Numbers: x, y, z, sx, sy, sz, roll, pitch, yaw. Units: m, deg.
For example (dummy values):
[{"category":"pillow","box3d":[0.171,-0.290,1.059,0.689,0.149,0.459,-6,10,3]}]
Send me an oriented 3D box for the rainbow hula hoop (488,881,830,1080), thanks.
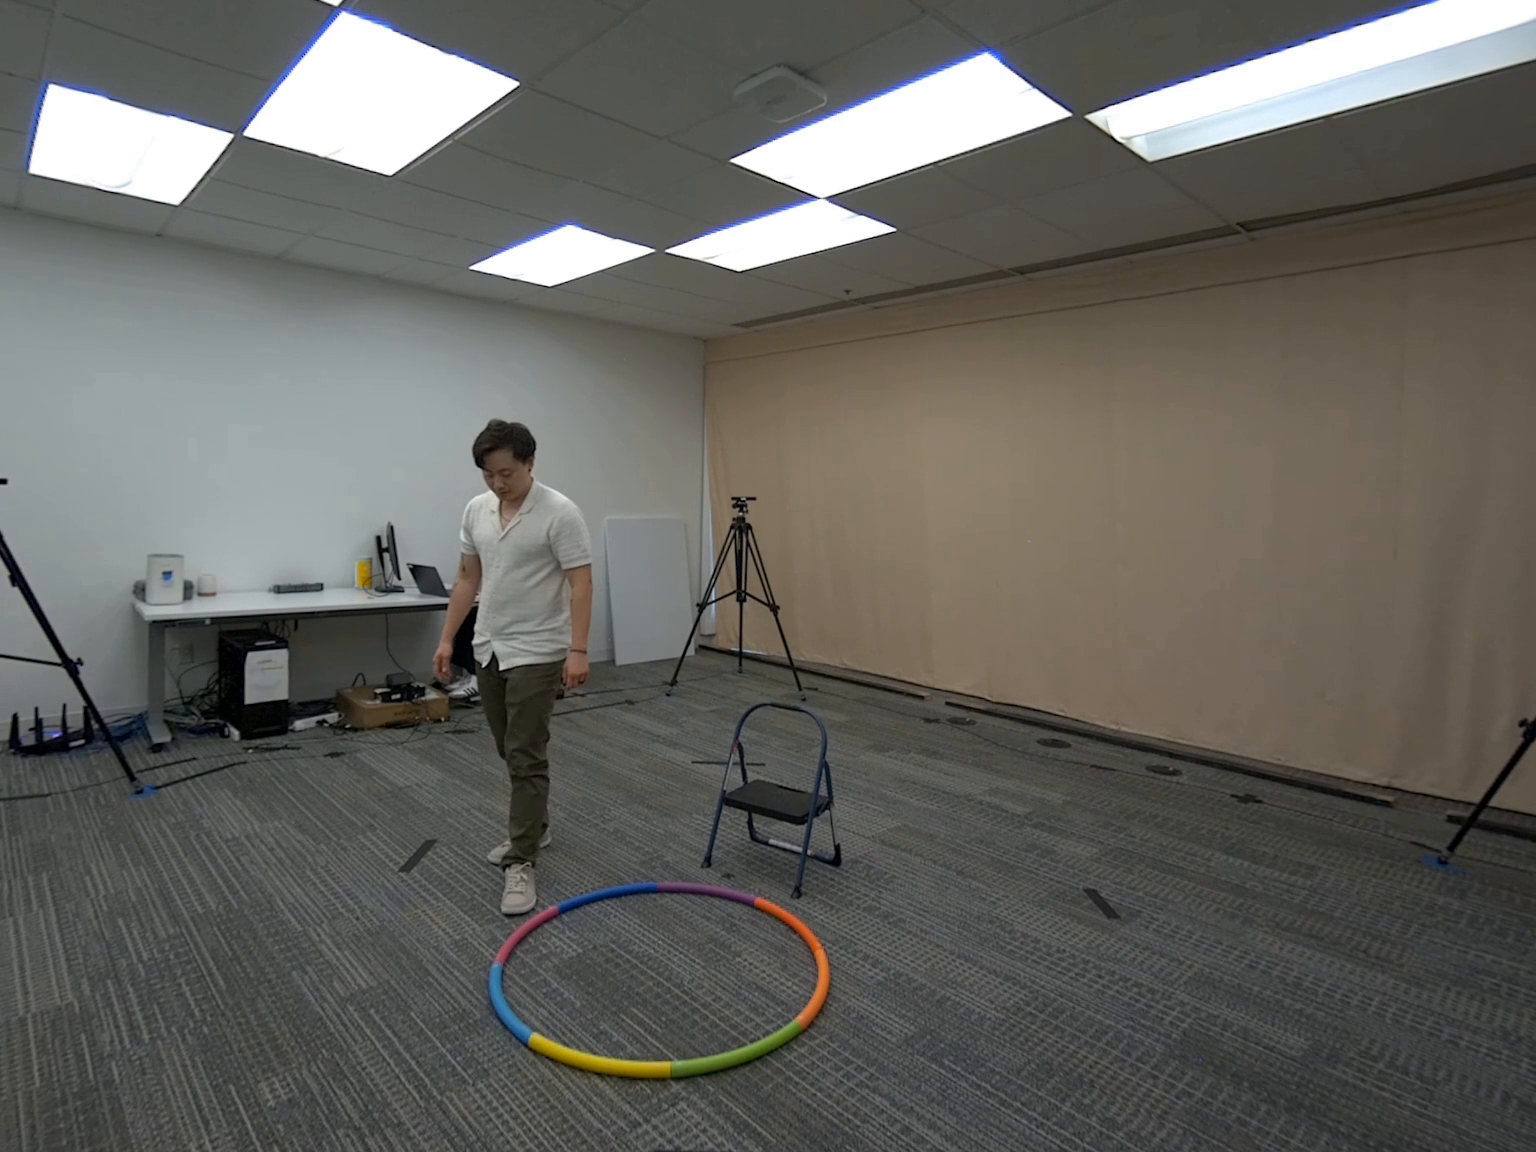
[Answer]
[{"category":"rainbow hula hoop","box3d":[-0.319,1.128,2.494,0.978,0.035,0.982,1,5,-1]}]
